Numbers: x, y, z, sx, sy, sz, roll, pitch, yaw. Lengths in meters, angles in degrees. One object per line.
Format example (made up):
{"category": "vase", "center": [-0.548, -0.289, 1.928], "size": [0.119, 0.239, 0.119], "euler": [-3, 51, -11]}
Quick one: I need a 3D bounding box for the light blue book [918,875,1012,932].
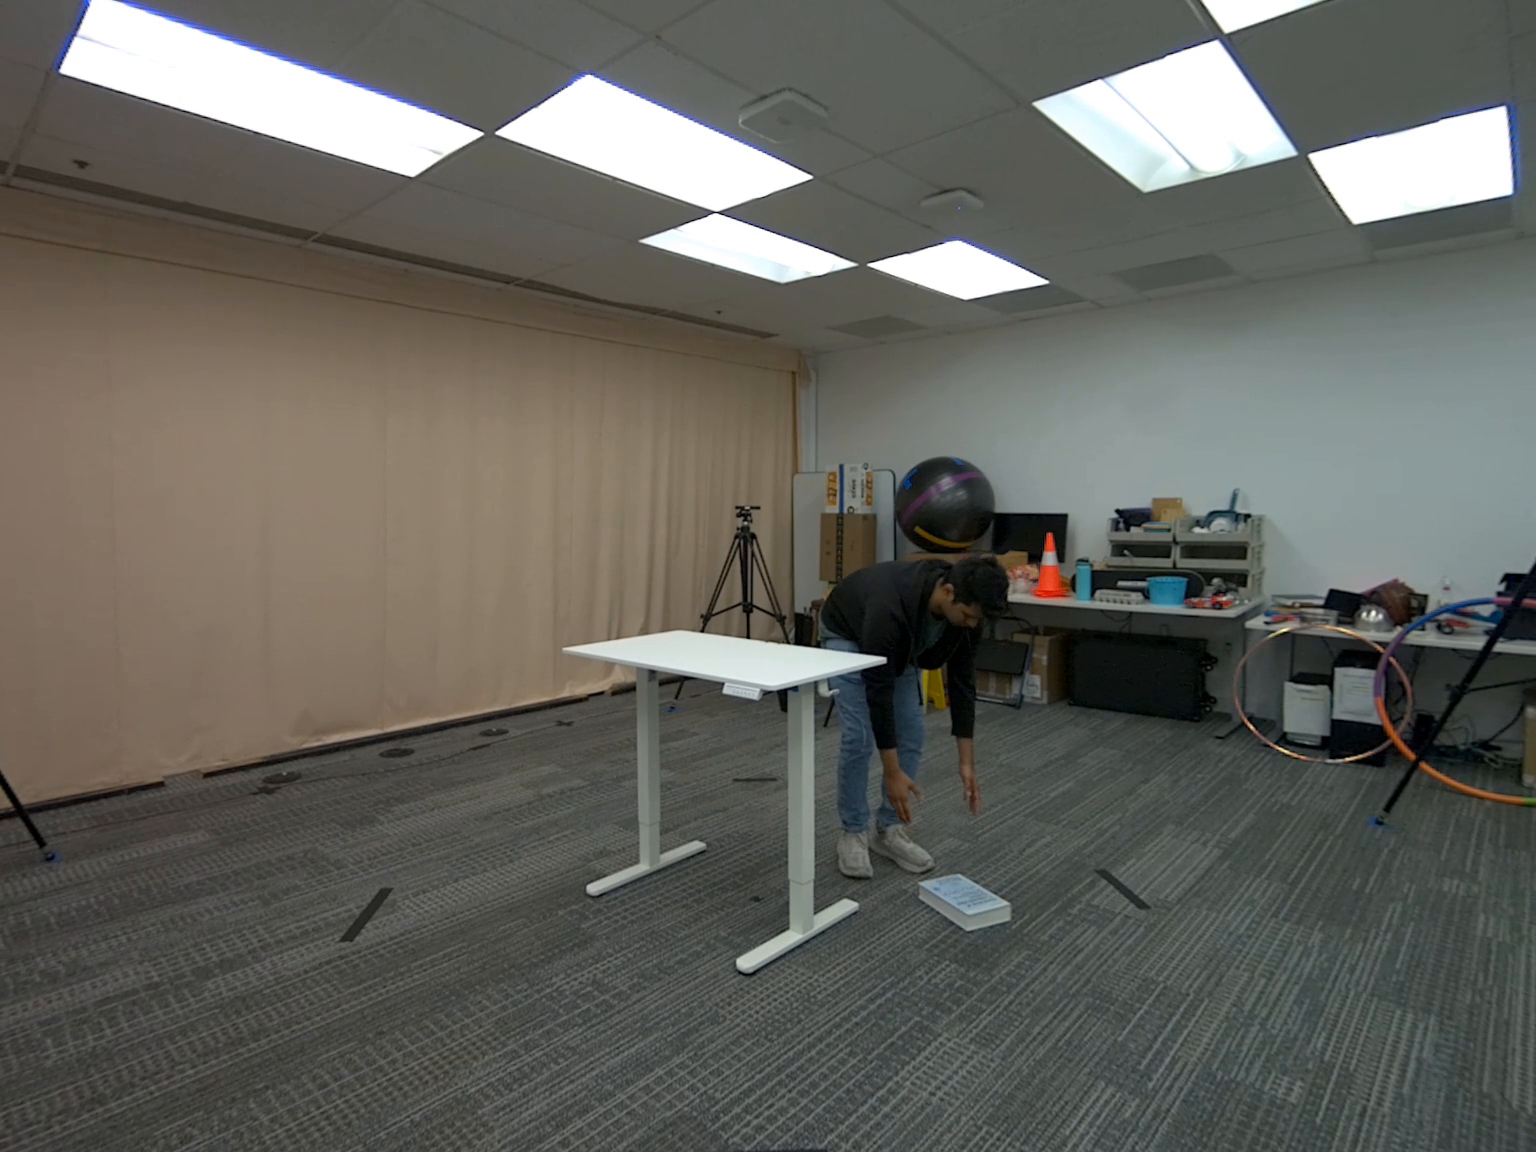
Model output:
{"category": "light blue book", "center": [0.670, 1.115, 2.902], "size": [0.187, 0.059, 0.268], "euler": [-3, 5, -26]}
